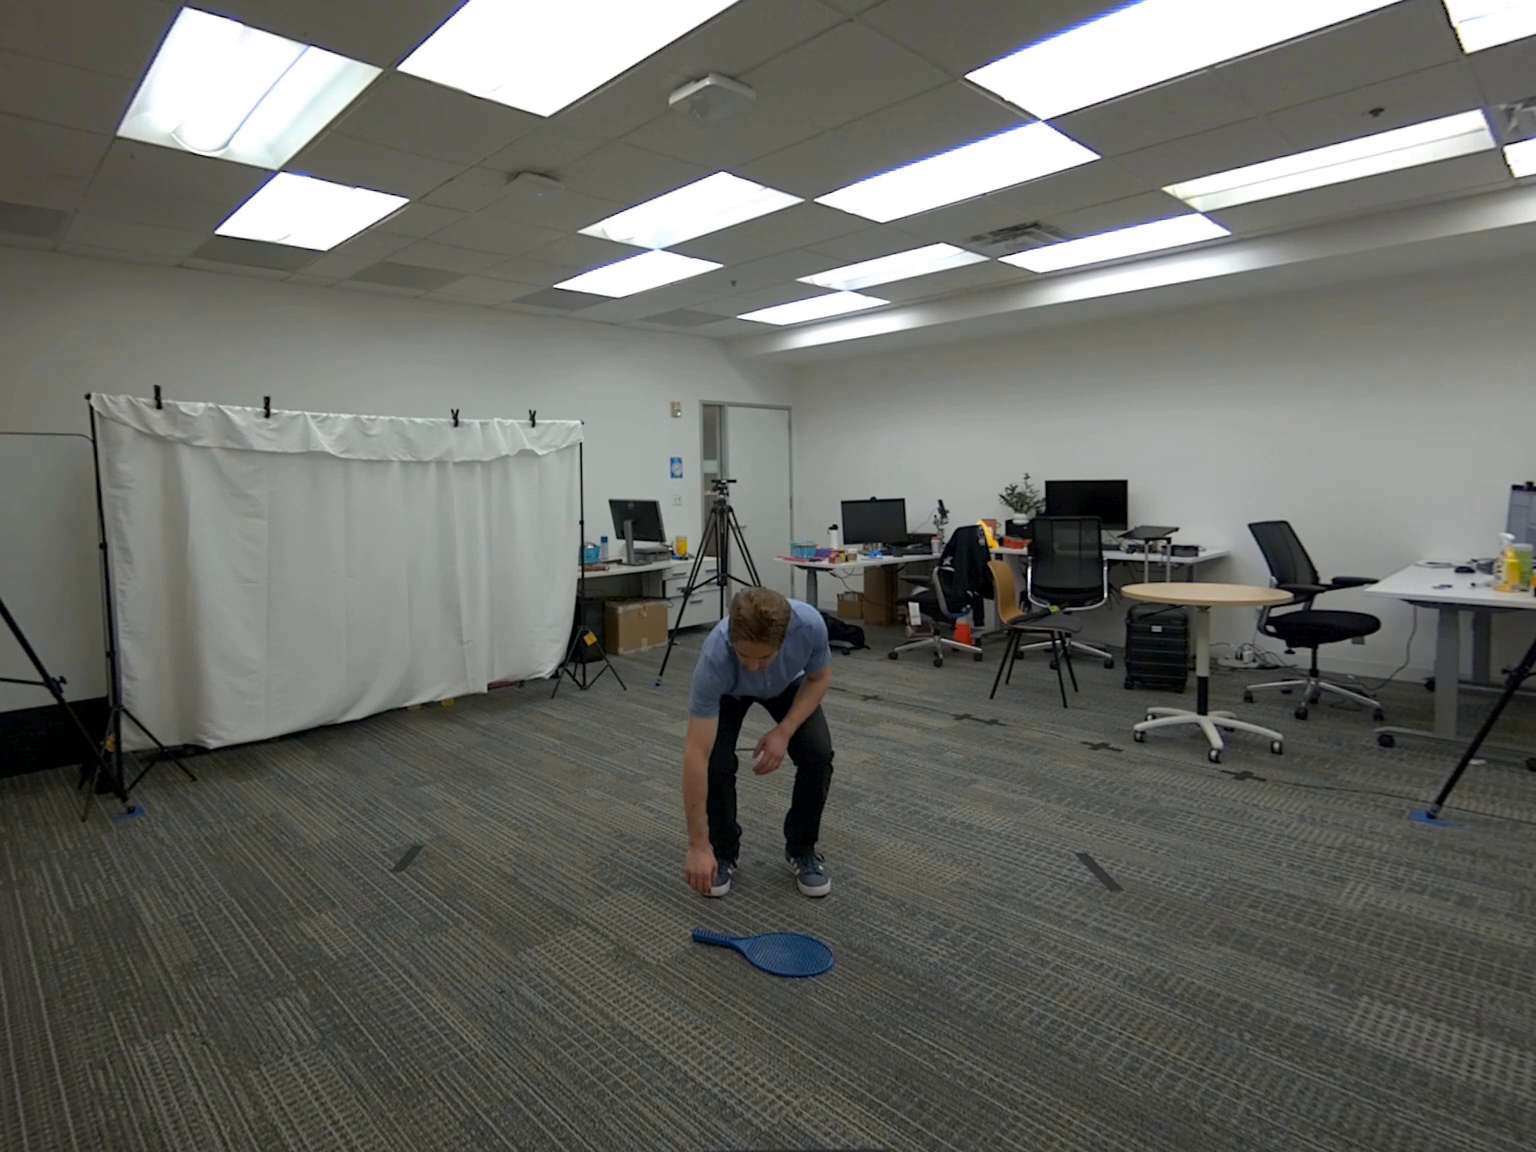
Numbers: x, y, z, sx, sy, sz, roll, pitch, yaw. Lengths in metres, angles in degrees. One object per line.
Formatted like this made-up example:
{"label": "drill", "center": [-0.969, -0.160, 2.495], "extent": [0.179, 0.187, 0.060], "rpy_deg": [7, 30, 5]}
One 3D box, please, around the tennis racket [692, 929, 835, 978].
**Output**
{"label": "tennis racket", "center": [-0.014, 1.100, 2.533], "extent": [0.442, 0.031, 0.210], "rpy_deg": [3, 7, 21]}
